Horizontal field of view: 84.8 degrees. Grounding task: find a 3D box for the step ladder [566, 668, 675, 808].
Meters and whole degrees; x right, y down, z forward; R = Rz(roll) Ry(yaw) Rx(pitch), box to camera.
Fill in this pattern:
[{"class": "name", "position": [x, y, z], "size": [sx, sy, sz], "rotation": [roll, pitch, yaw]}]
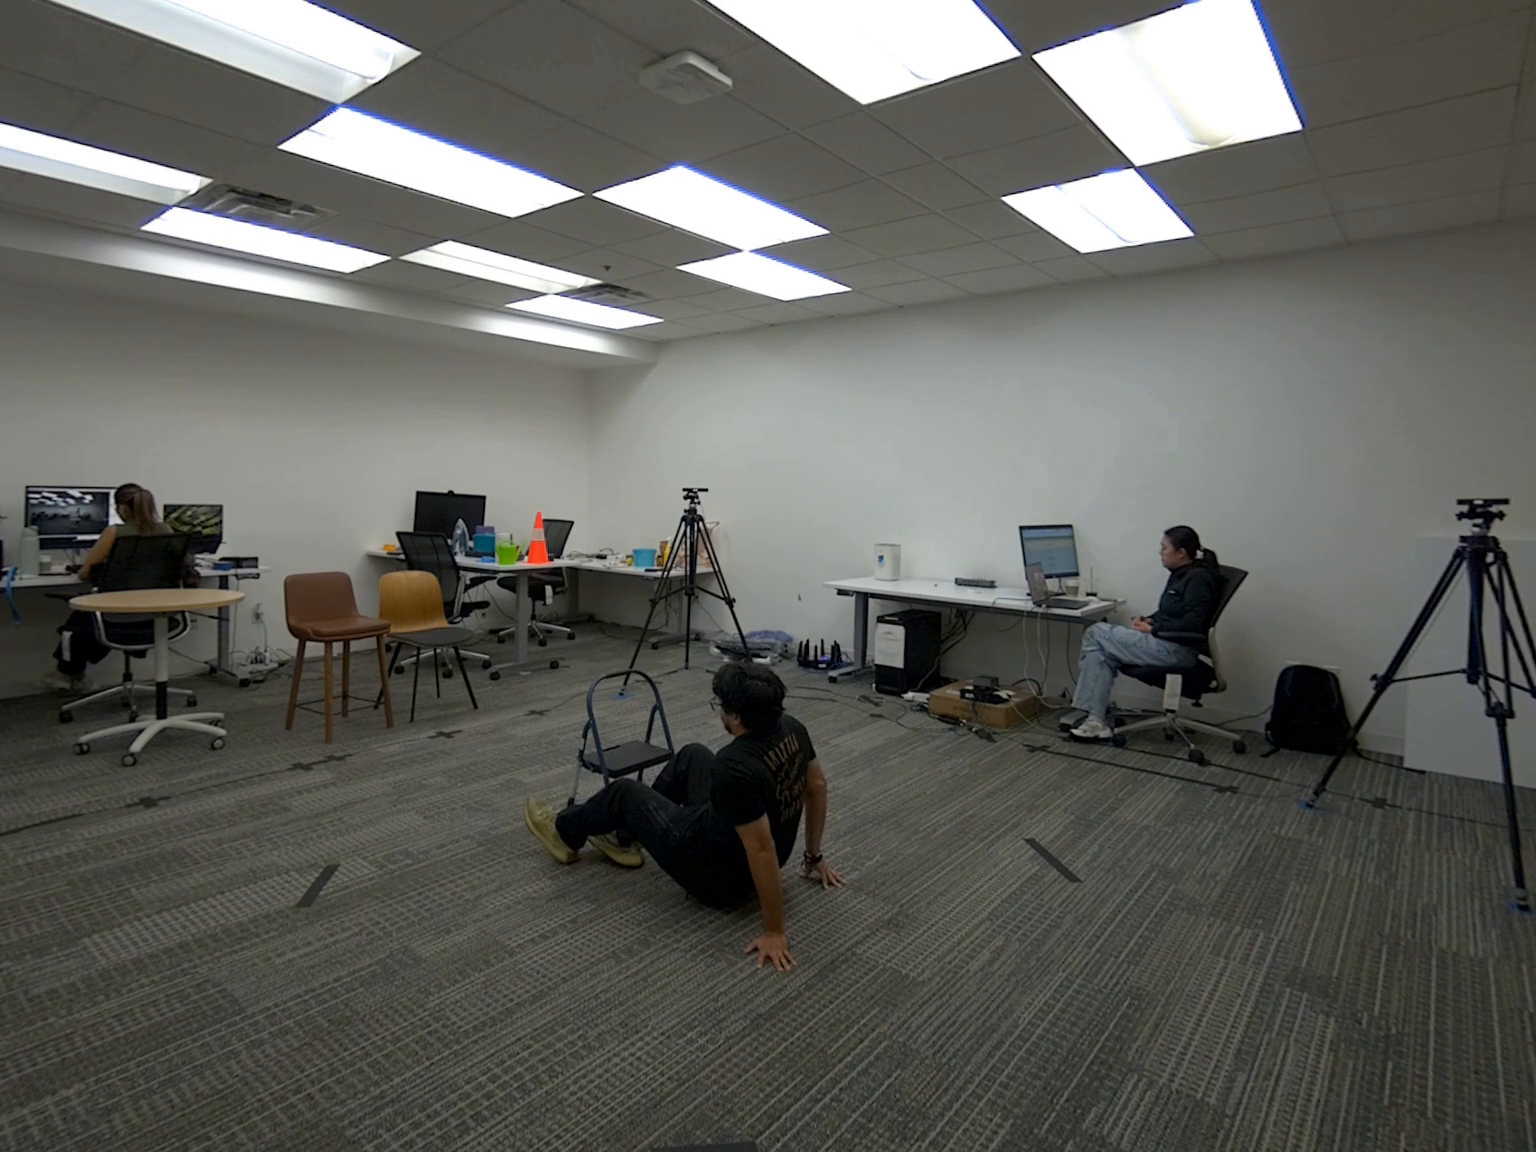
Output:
[{"class": "step ladder", "position": [-0.595, 0.712, 3.597], "size": [0.361, 0.605, 0.418], "rotation": [3, 4, 38]}]
